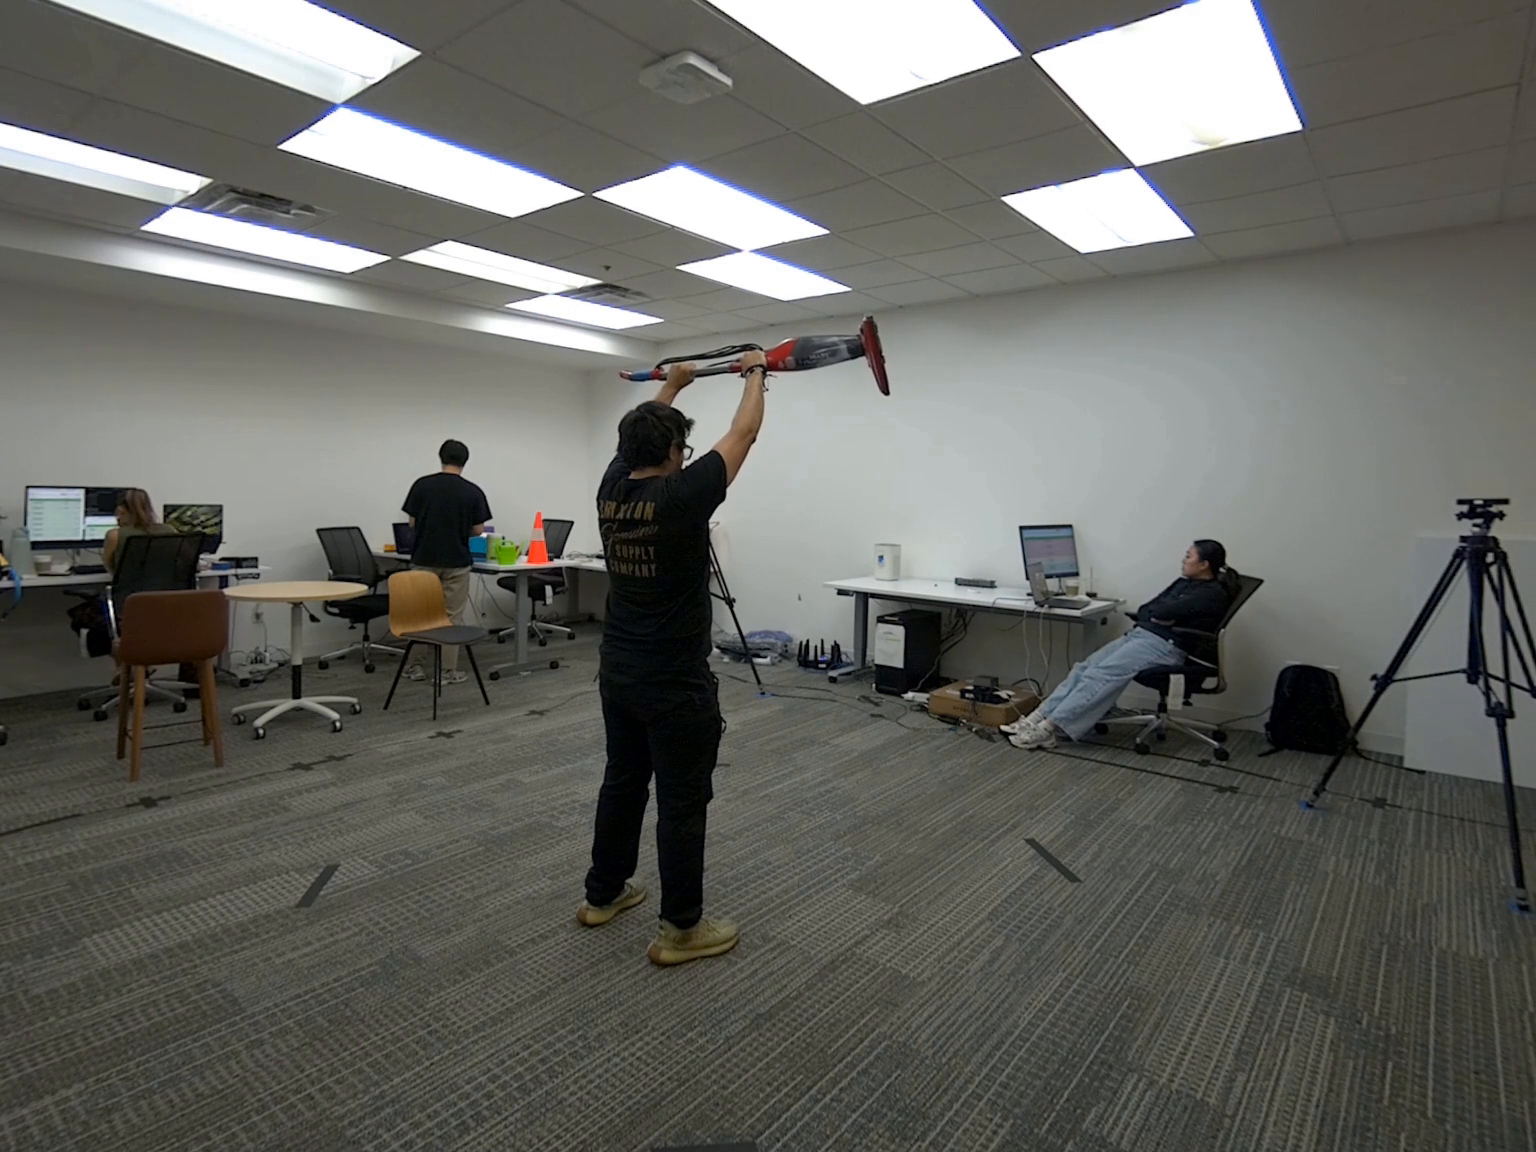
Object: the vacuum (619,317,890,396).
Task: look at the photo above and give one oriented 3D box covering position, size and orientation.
[{"bbox_3d":[-0.113,-0.726,2.856,1.084,0.243,0.144,6,45,35],"label":"vacuum"}]
